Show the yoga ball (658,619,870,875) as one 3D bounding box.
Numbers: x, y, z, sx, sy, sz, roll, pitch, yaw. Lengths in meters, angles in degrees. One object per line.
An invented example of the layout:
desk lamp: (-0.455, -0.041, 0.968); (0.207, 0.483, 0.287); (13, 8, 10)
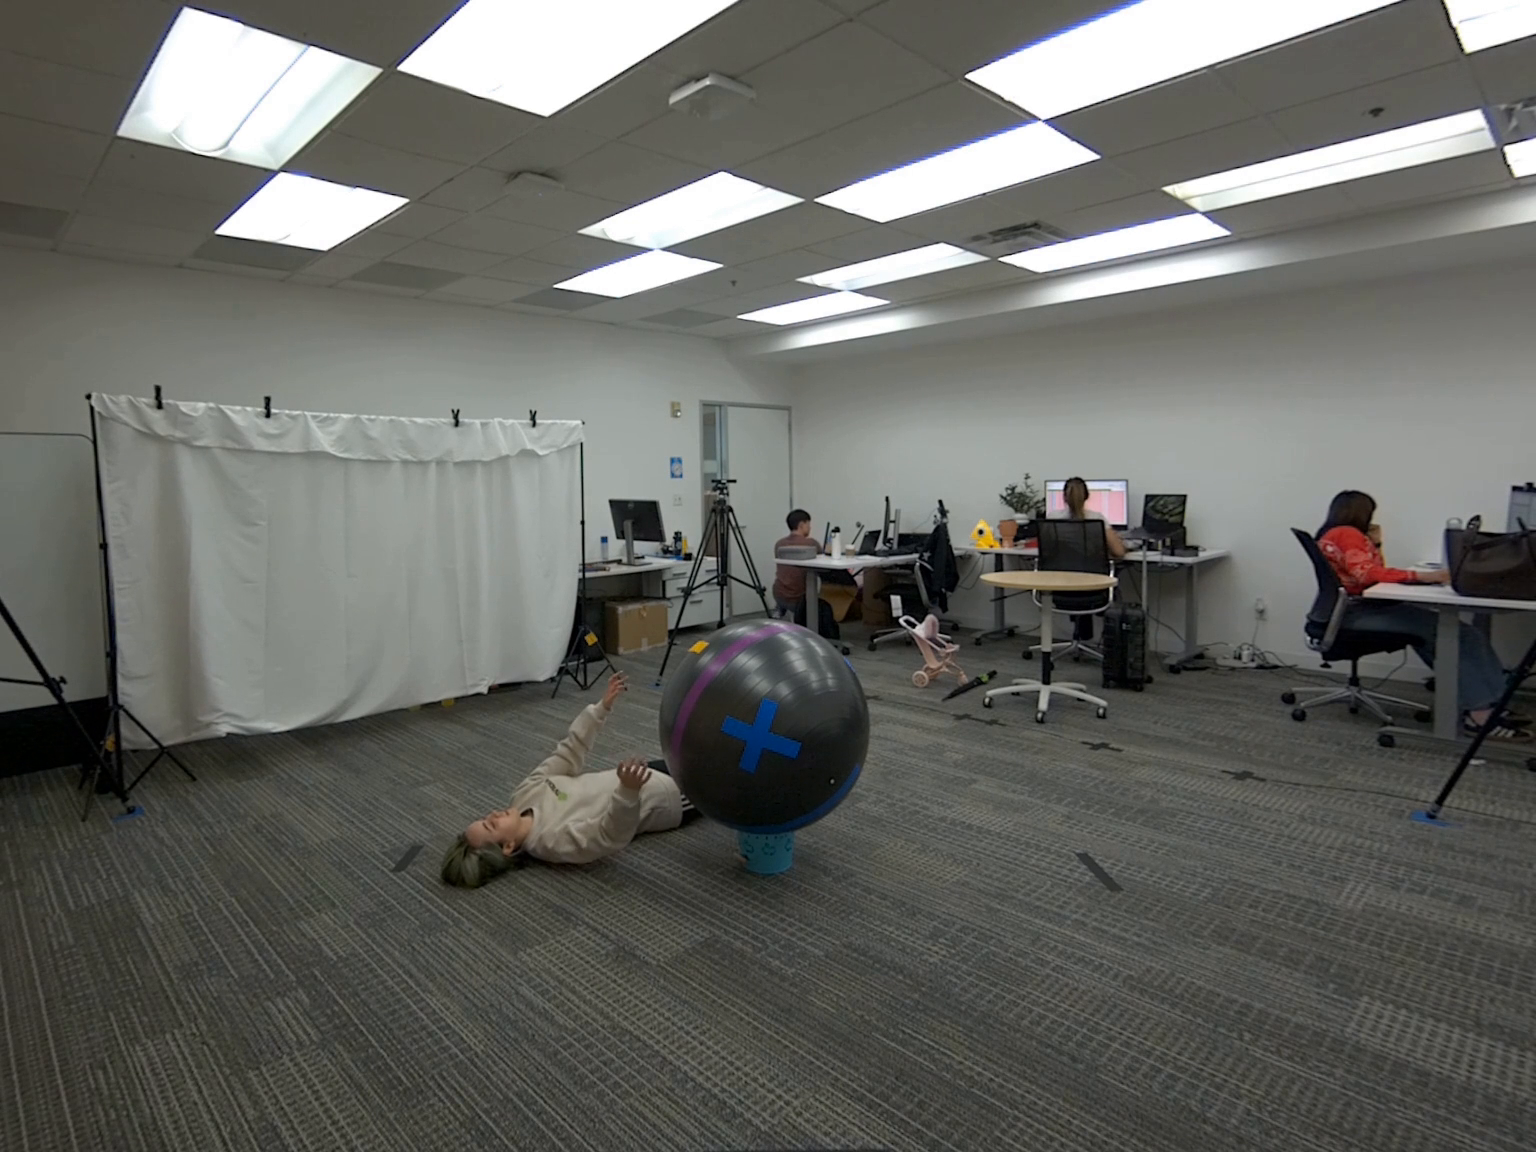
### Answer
yoga ball: (-0.013, 0.536, 3.088); (0.757, 0.755, 0.762); (-1, 5, -2)
